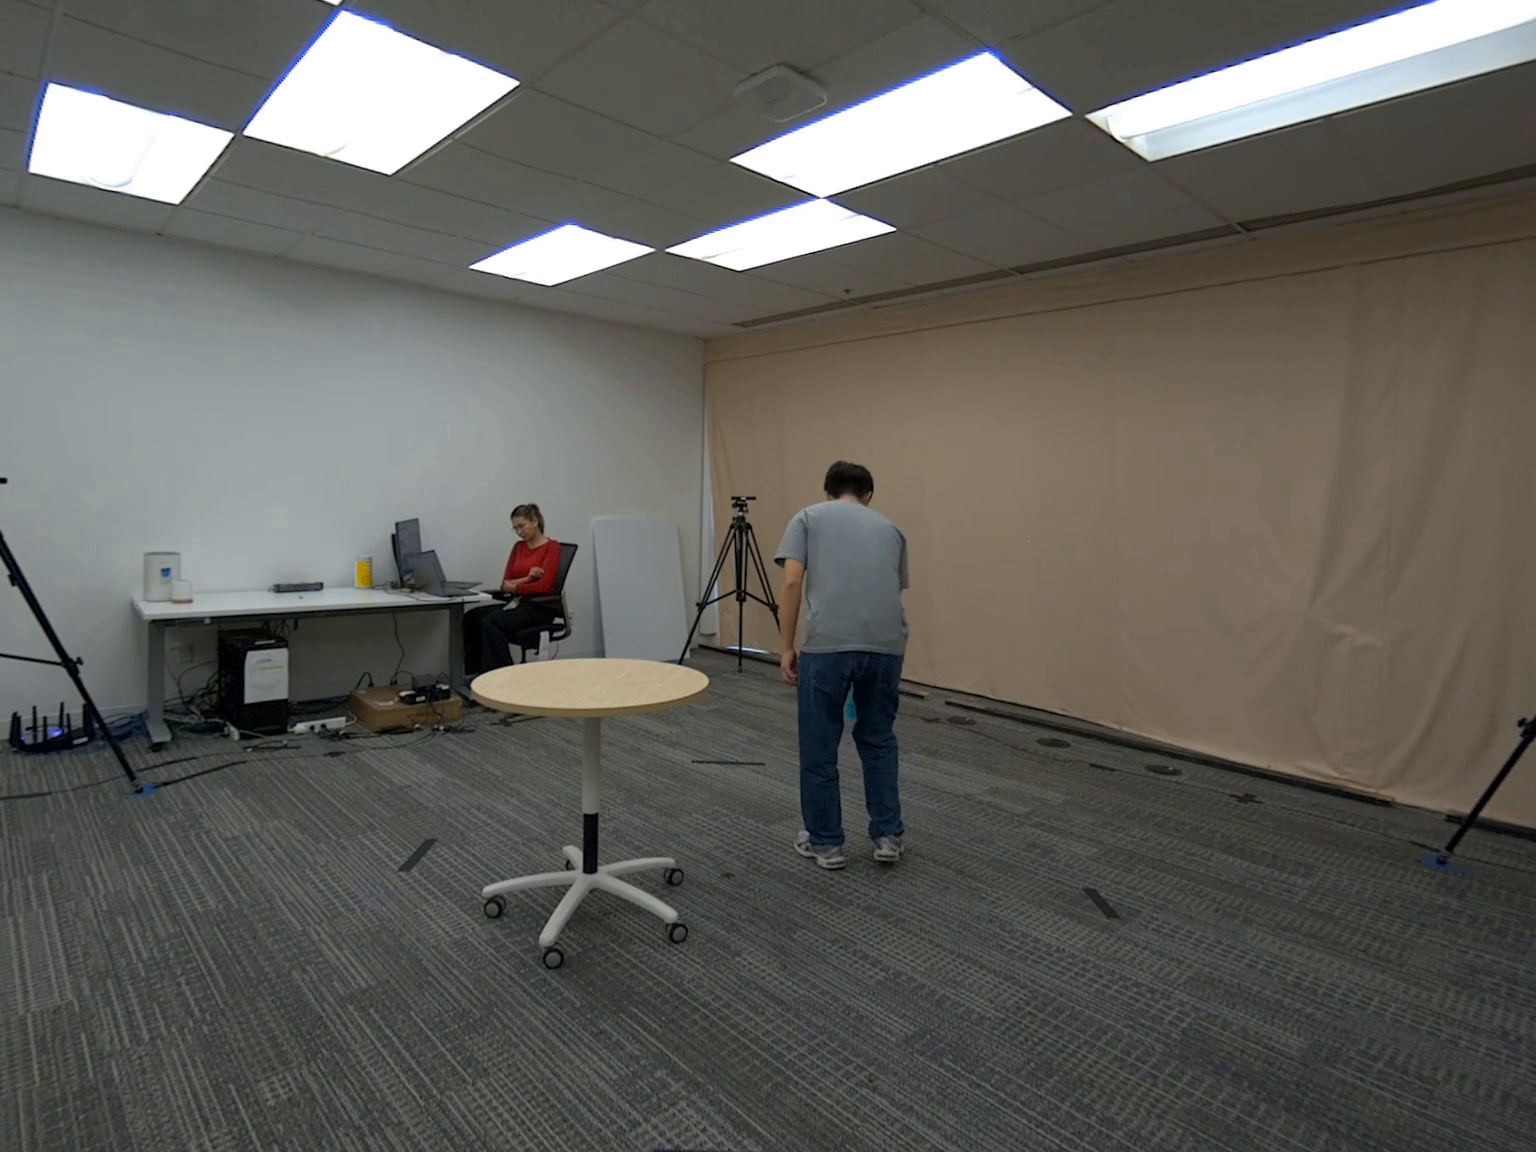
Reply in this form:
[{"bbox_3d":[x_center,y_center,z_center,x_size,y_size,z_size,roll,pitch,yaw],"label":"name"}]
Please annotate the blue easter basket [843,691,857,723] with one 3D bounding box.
[{"bbox_3d":[0.380,0.532,3.576,0.243,0.156,0.244,2,1,-1],"label":"blue easter basket"}]
